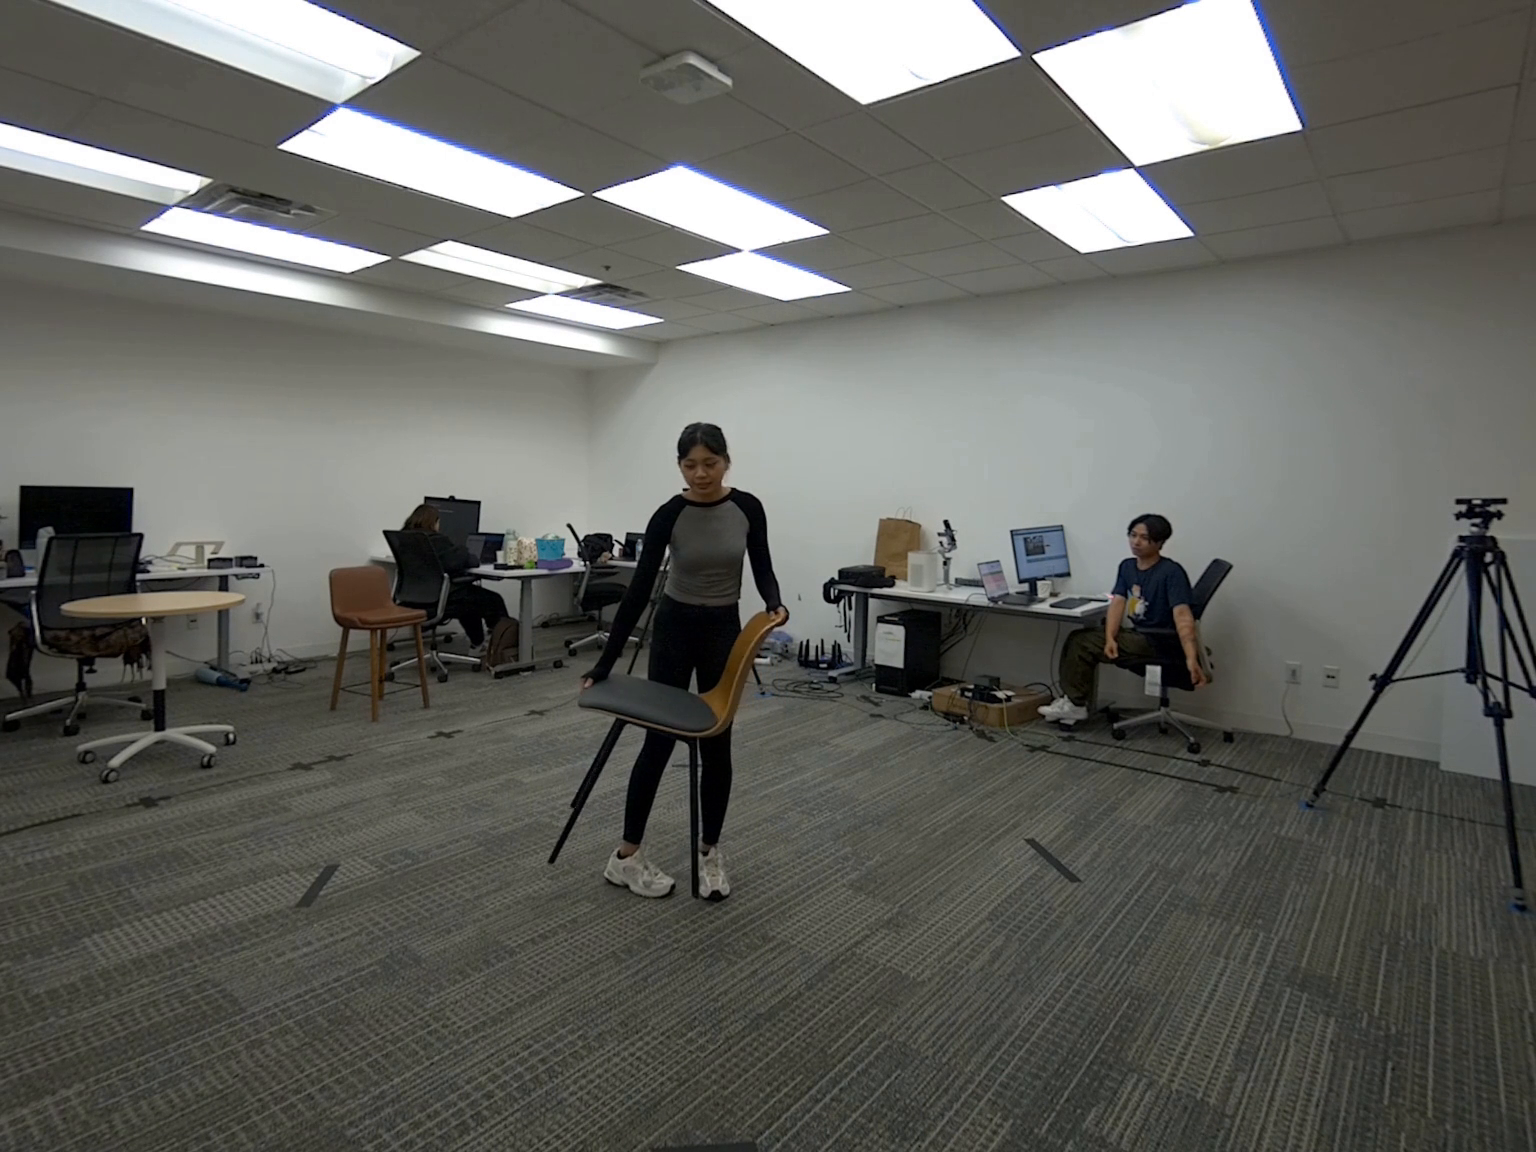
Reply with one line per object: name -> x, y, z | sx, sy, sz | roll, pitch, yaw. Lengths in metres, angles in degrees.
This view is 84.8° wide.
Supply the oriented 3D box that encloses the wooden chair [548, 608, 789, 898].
wooden chair -> -0.352, 0.464, 2.686 | 0.522, 0.876, 0.480 | 18, 2, -3
